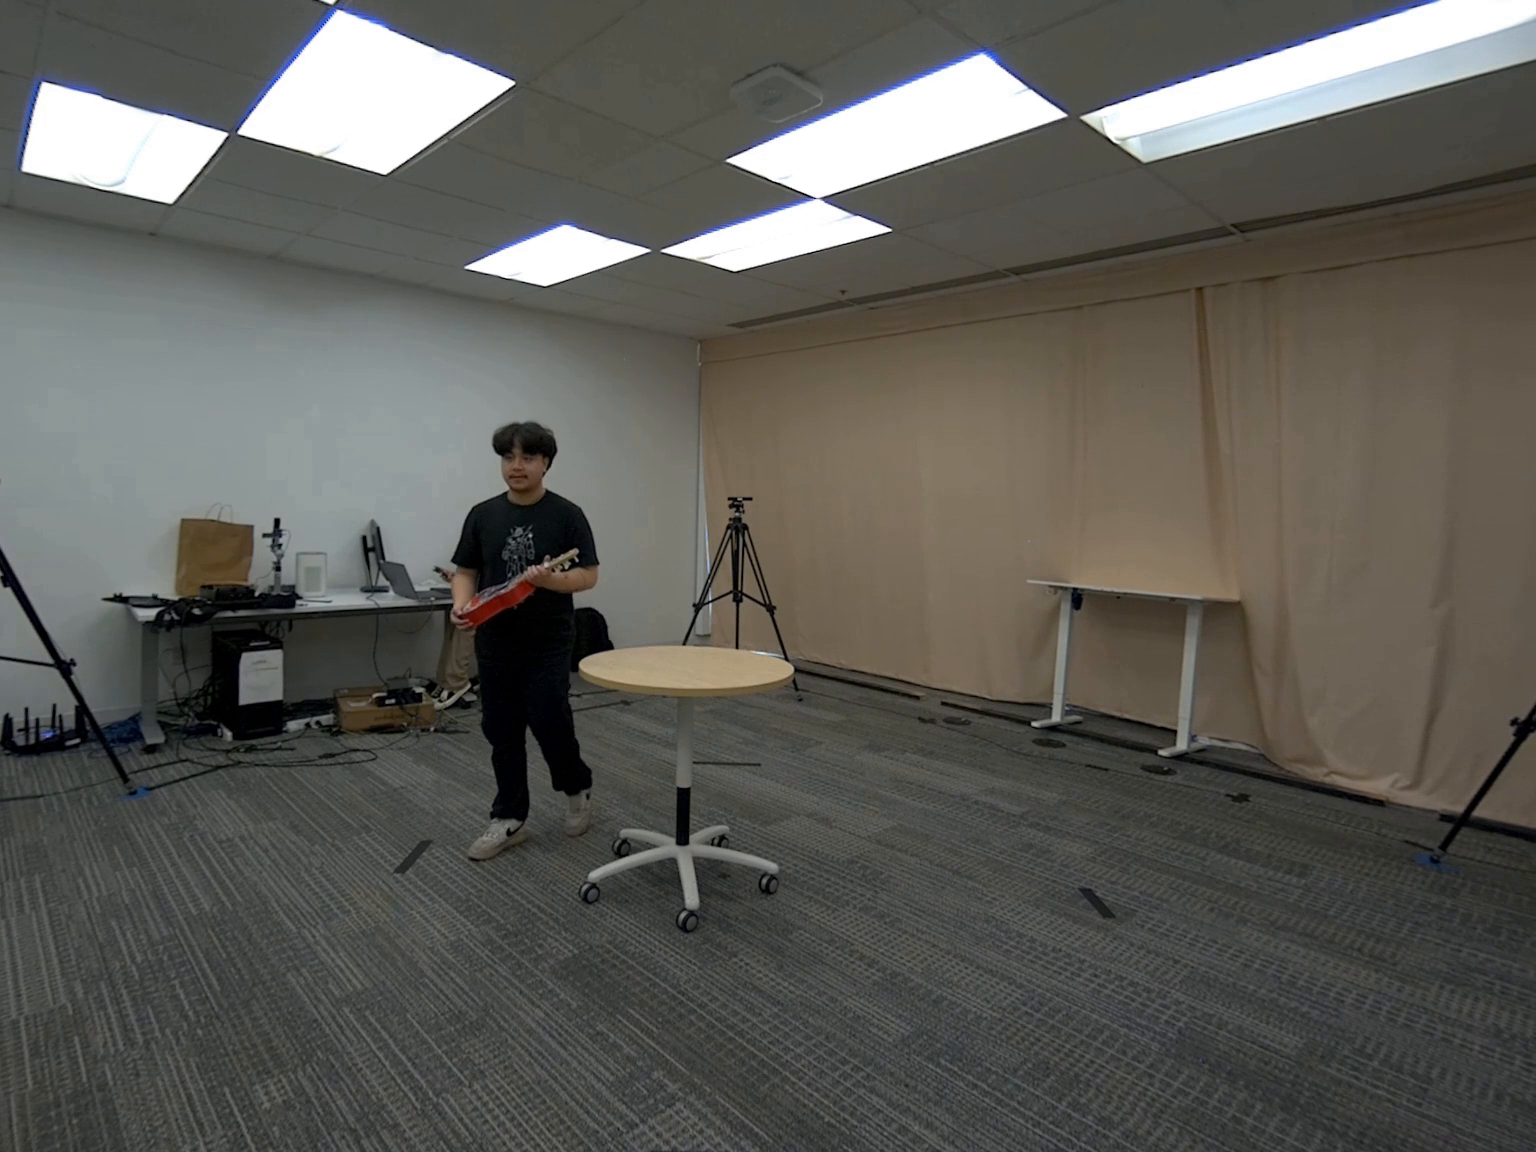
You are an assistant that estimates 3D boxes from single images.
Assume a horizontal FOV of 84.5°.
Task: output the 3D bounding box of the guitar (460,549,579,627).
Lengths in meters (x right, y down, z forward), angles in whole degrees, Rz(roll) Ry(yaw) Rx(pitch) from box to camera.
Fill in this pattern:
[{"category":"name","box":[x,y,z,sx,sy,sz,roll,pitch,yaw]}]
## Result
[{"category":"guitar","box":[-0.905,0.053,3.012,0.502,0.069,0.195,-23,22,20]}]
